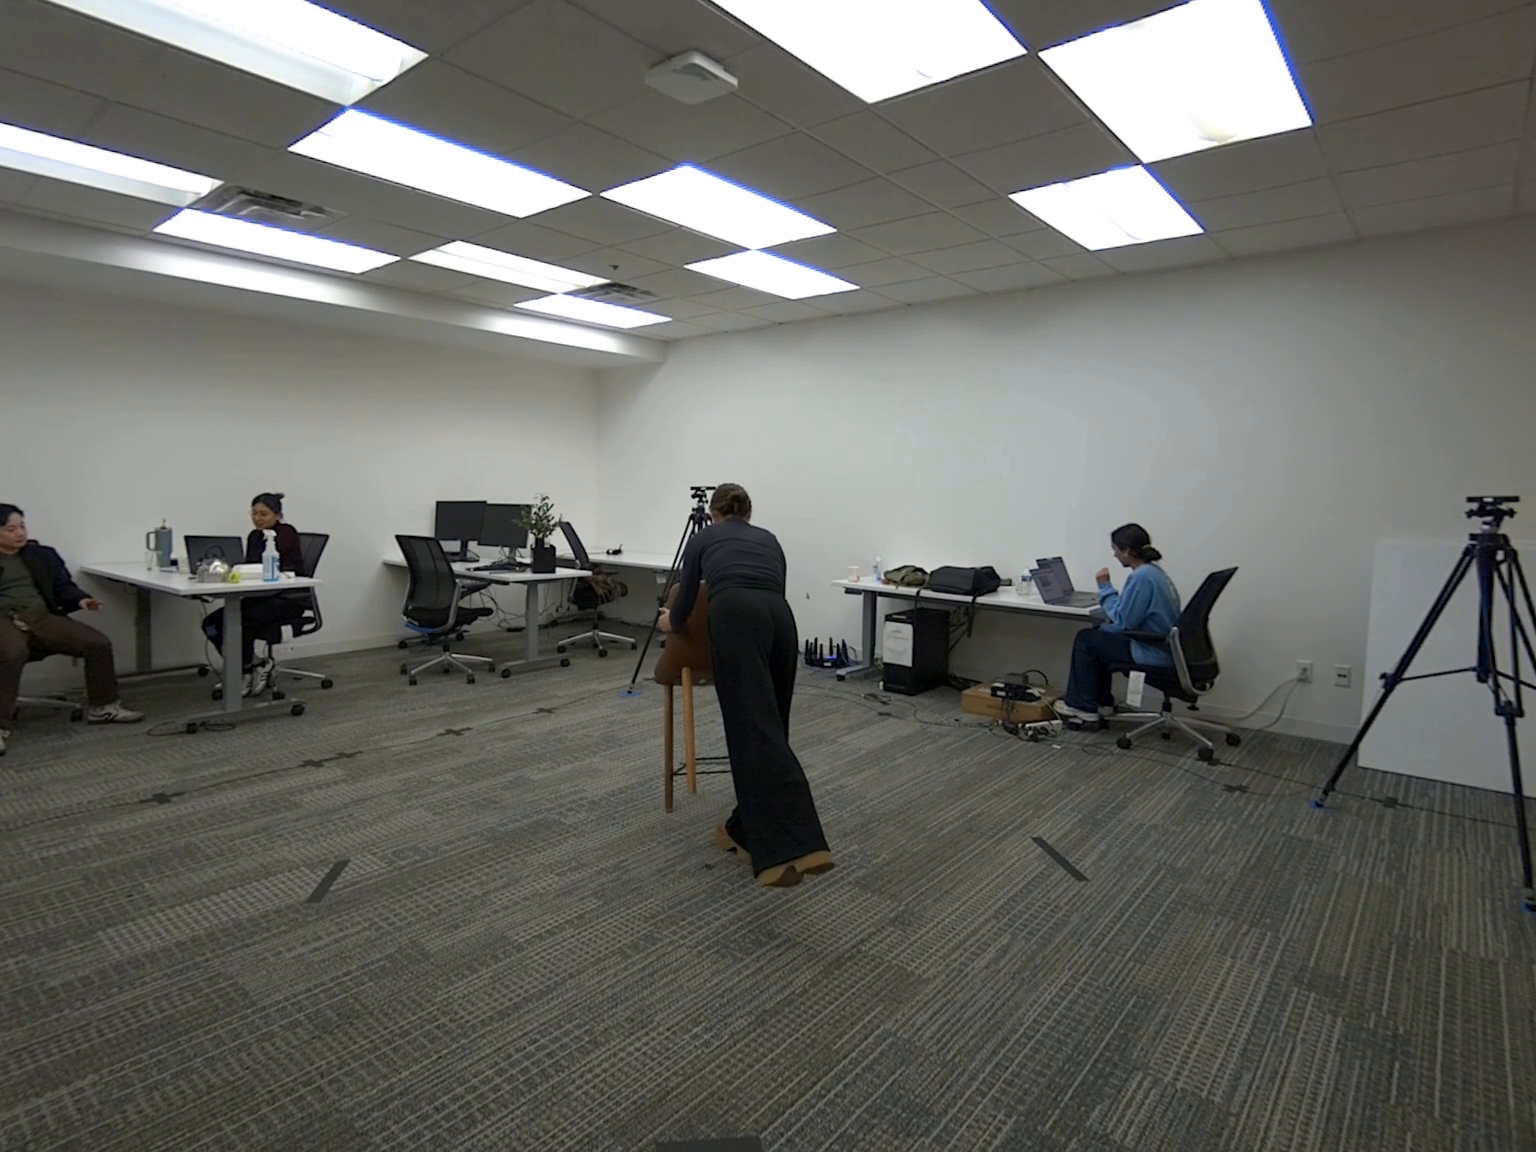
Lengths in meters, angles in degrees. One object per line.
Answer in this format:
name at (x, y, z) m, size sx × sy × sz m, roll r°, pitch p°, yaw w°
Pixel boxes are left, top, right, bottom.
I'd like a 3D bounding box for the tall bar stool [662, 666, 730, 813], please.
tall bar stool at (-0.248, 0.512, 3.679) m, size 0.449 × 0.910 × 0.465 m, roll -1°, pitch -22°, yaw -16°
